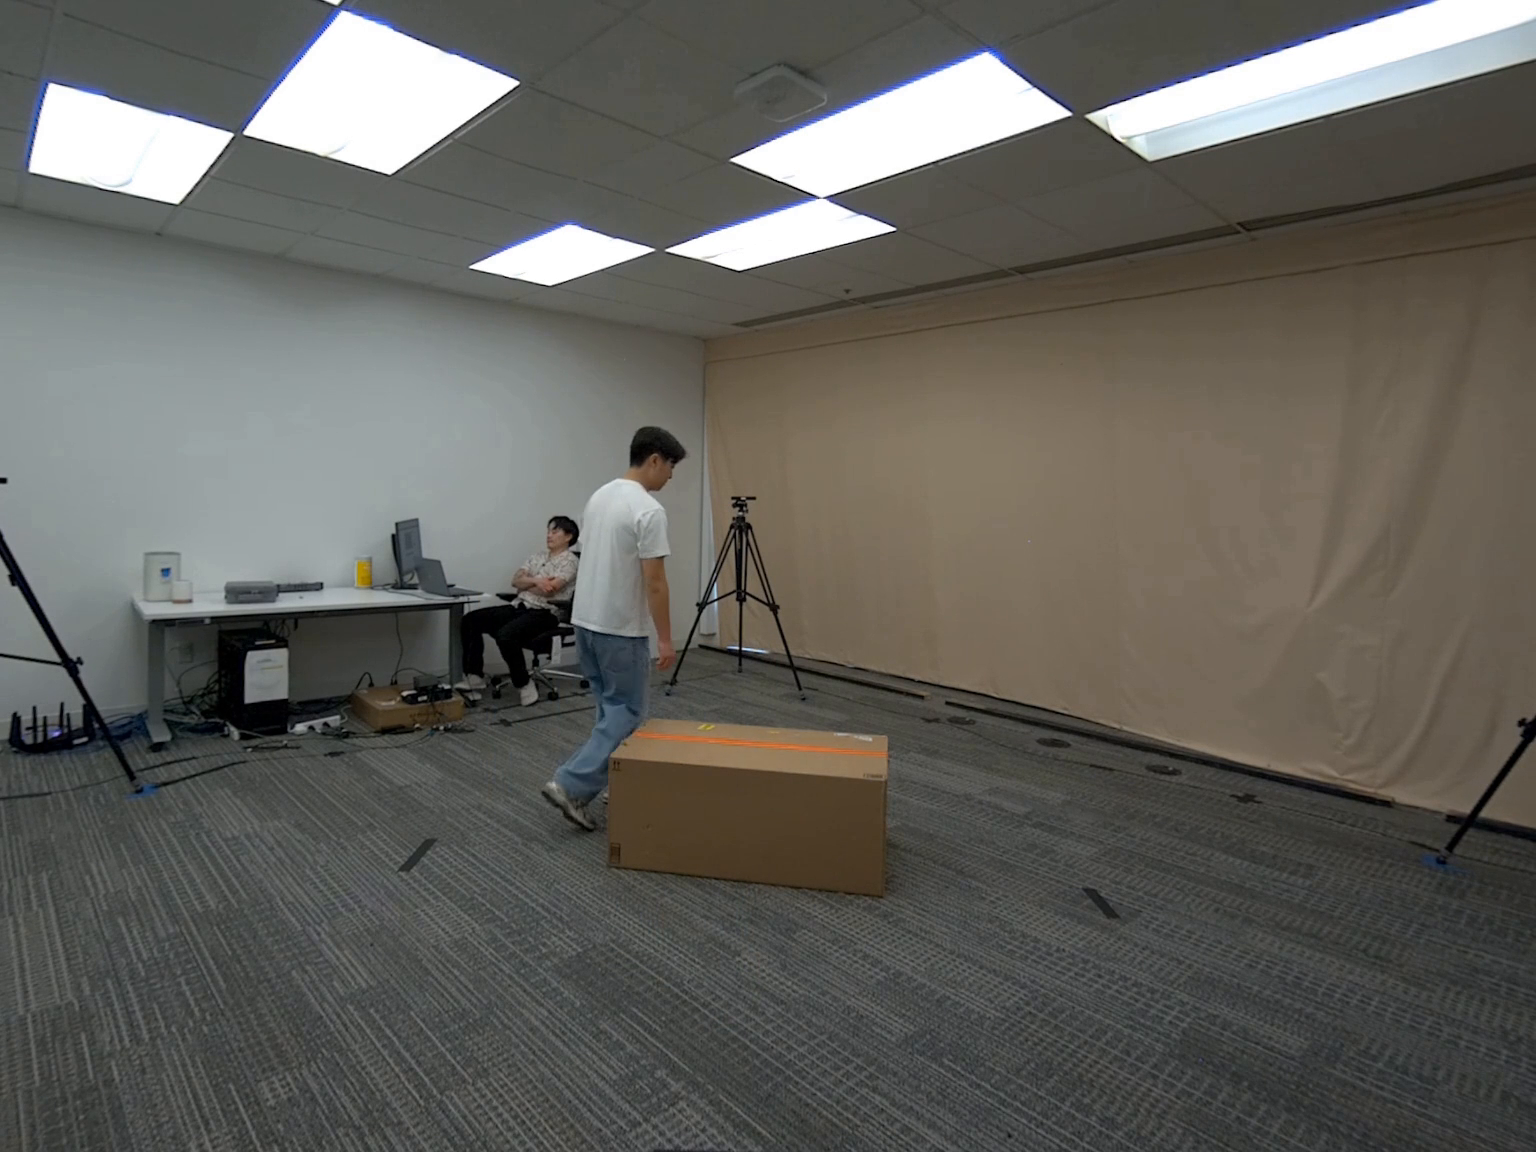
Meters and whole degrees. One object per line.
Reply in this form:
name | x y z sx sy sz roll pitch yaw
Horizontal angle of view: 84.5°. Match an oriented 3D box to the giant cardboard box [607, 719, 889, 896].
giant cardboard box | -0.054 0.872 3.313 1.035 0.425 0.574 2 4 10
